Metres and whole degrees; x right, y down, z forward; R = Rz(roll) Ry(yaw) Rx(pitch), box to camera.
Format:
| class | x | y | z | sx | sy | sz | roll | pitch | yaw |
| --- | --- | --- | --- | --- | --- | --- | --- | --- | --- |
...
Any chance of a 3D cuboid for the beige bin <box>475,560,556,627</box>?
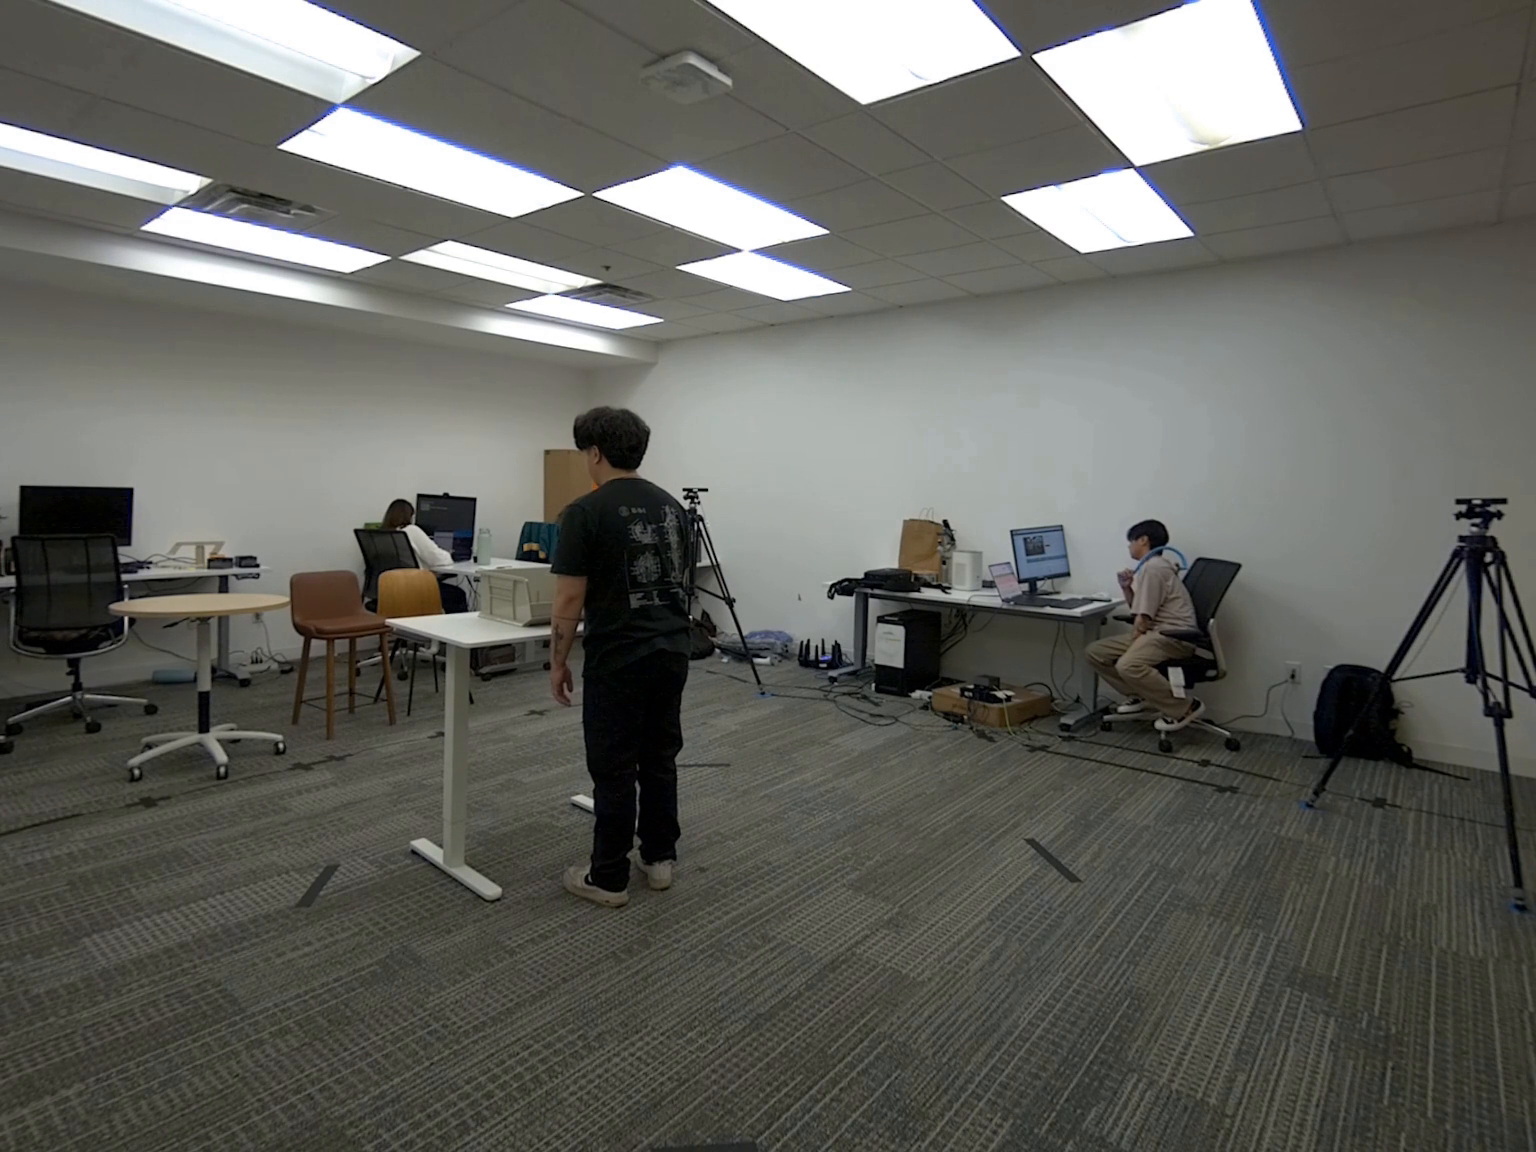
| class | x | y | z | sx | sy | sz | roll | pitch | yaw |
| --- | --- | --- | --- | --- | --- | --- | --- | --- | --- |
| beige bin | -0.847 | 0.070 | 3.276 | 0.390 | 0.188 | 0.410 | 5 | 7 | 44 |
